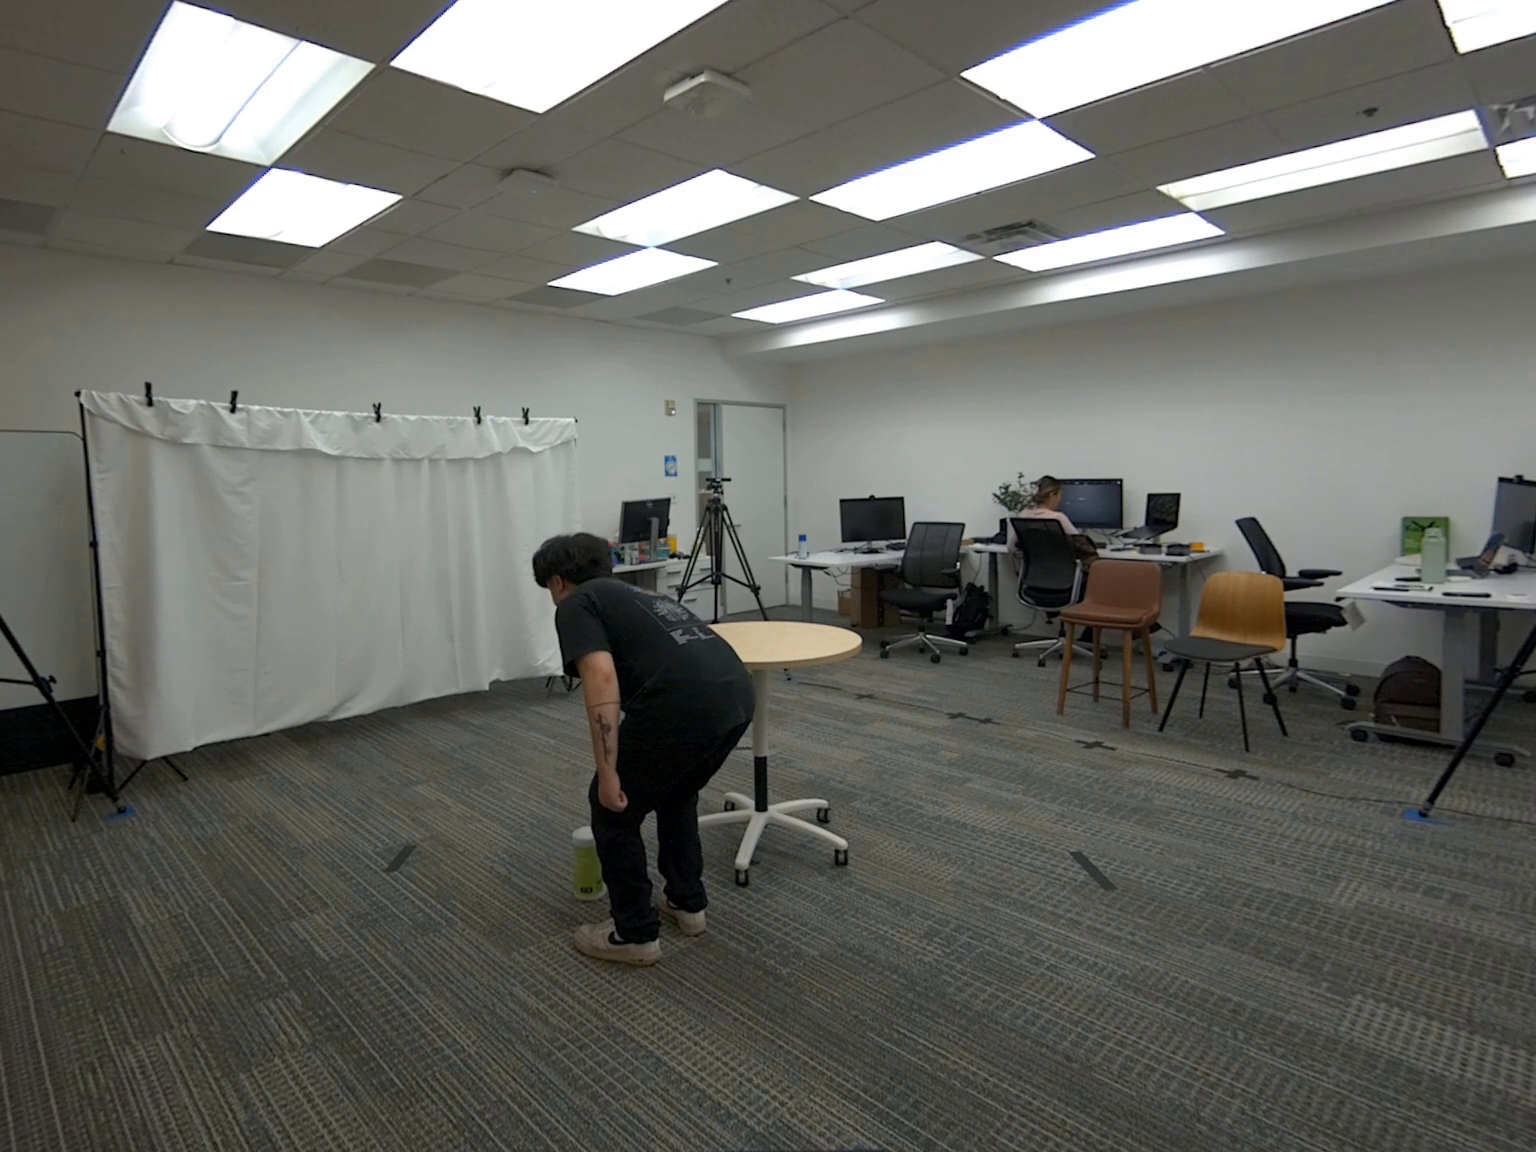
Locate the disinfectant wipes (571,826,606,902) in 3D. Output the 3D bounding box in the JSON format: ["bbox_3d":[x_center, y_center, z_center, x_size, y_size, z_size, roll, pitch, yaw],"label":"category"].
[{"bbox_3d":[-0.613,0.977,2.894,0.118,0.216,0.118,0,6,-2],"label":"disinfectant wipes"}]
